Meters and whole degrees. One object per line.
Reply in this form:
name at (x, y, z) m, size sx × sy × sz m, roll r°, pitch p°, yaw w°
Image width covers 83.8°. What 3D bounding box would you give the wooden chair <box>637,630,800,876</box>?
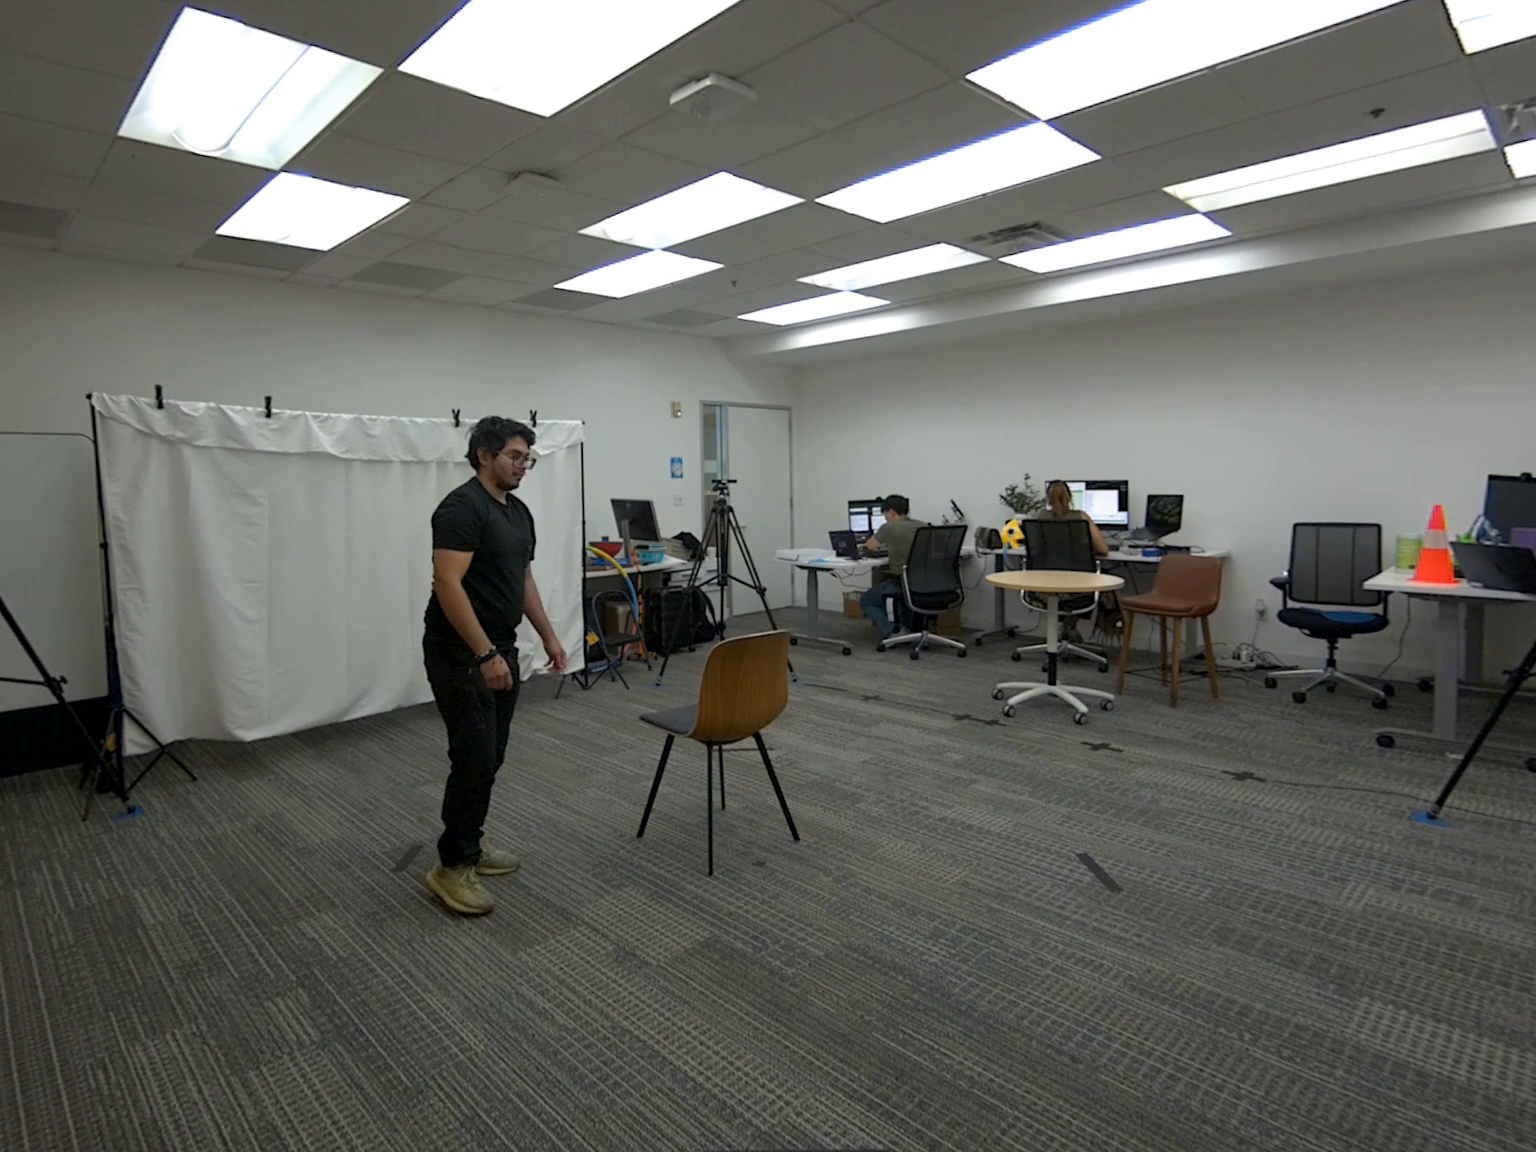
wooden chair at (-0.209, 0.601, 3.310) m, size 0.465 × 0.872 × 0.541 m, roll -5°, pitch 10°, yaw -41°
